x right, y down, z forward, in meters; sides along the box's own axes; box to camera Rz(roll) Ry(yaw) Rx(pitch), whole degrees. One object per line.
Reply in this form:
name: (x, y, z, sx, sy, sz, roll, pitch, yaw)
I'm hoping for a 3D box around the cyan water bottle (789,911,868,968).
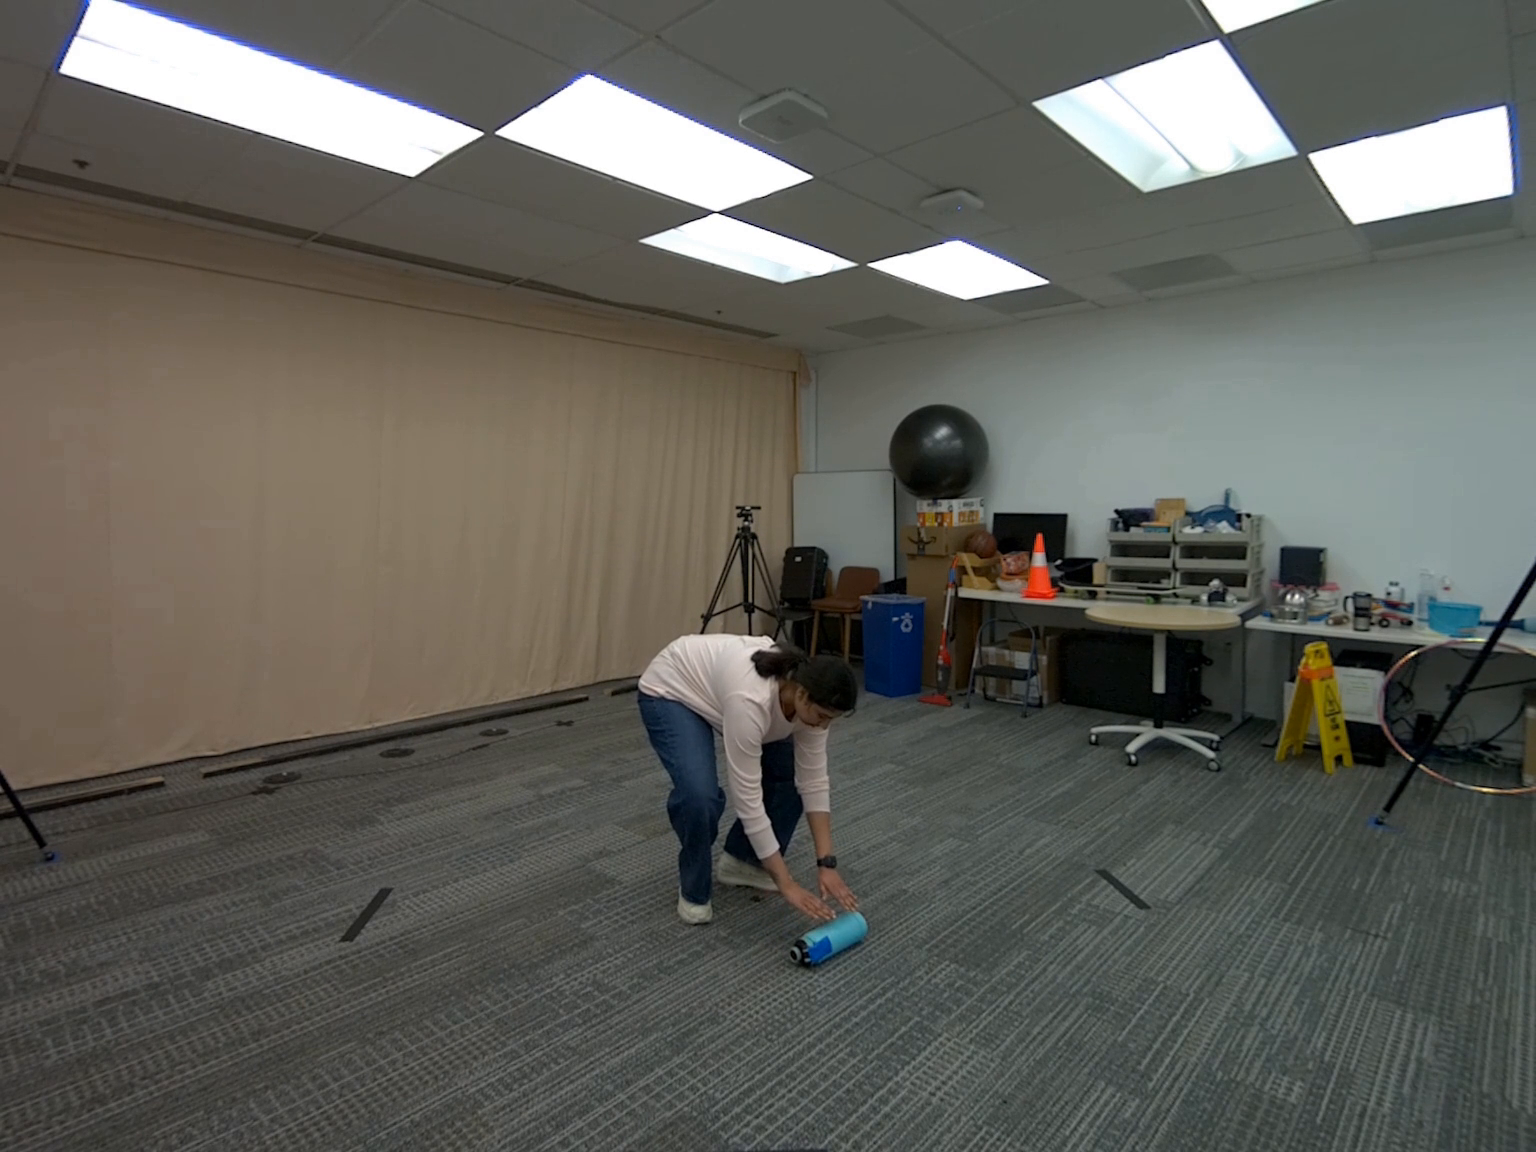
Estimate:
cyan water bottle: (0.197, 1.129, 2.611, 0.095, 0.092, 0.275, 4, 7, 45)
